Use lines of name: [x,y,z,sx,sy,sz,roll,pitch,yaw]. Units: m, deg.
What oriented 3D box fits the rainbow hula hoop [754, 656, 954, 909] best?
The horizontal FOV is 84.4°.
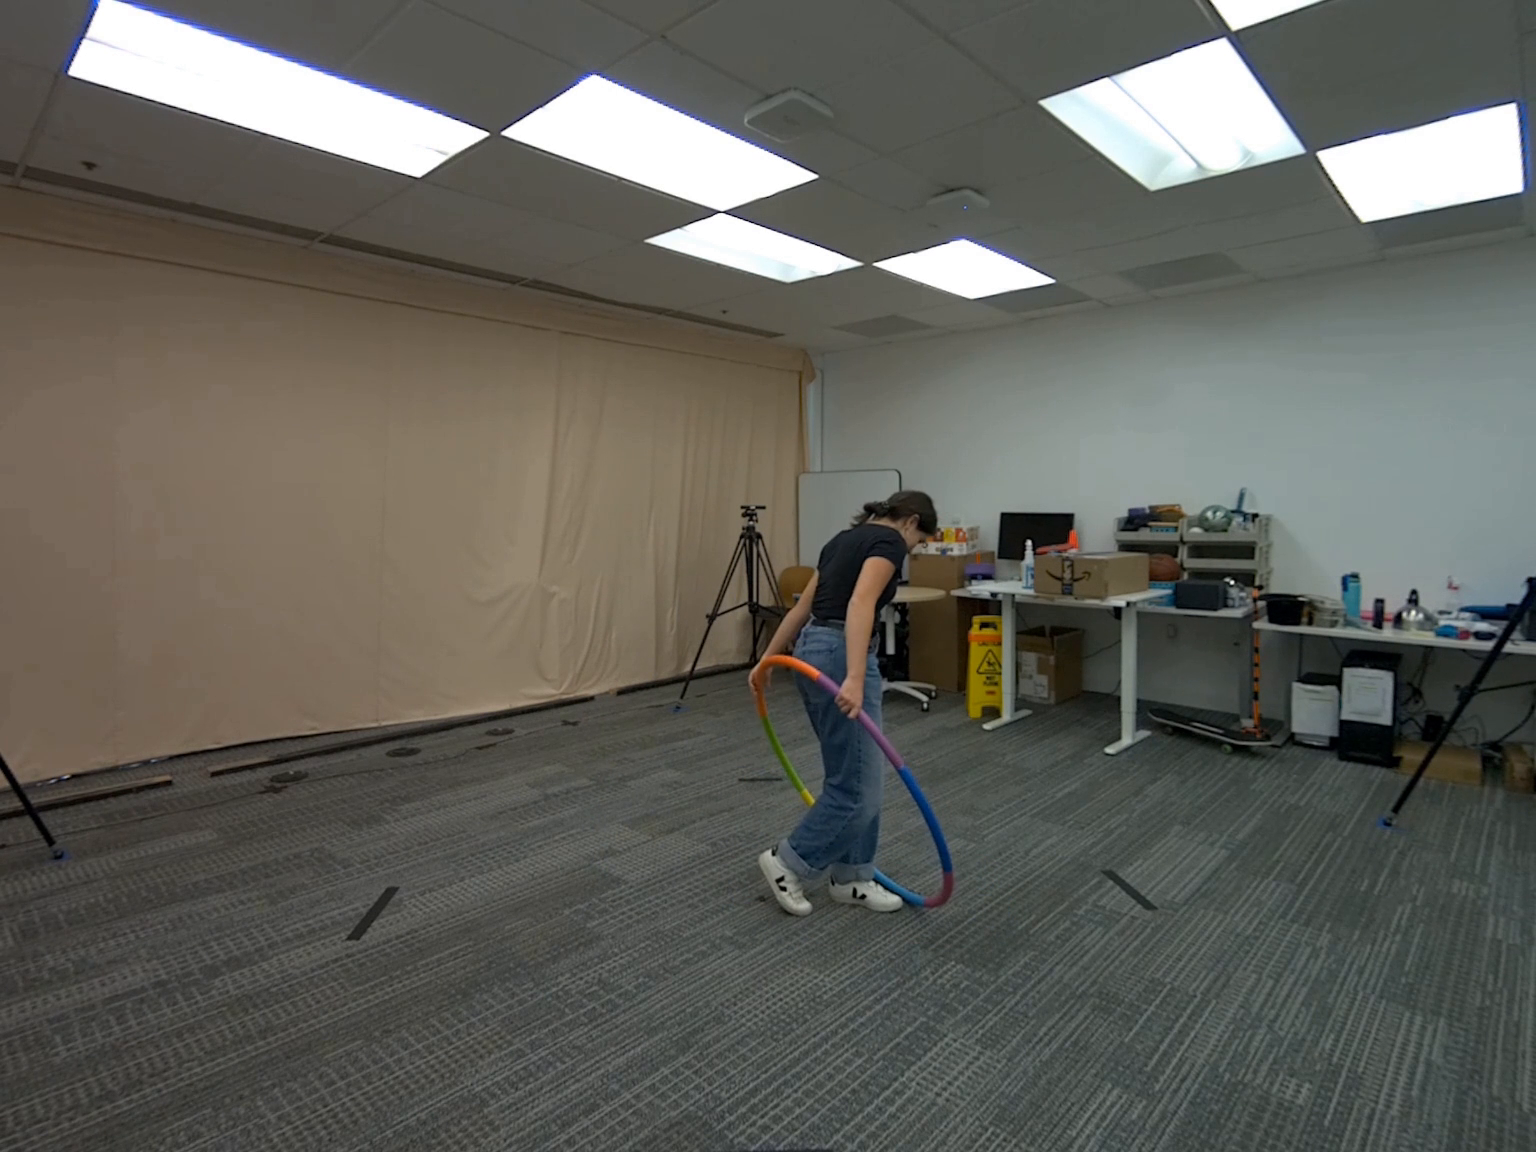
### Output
rainbow hula hoop: [0.270,0.710,2.911,0.035,0.963,1.006,-32,17,-24]
